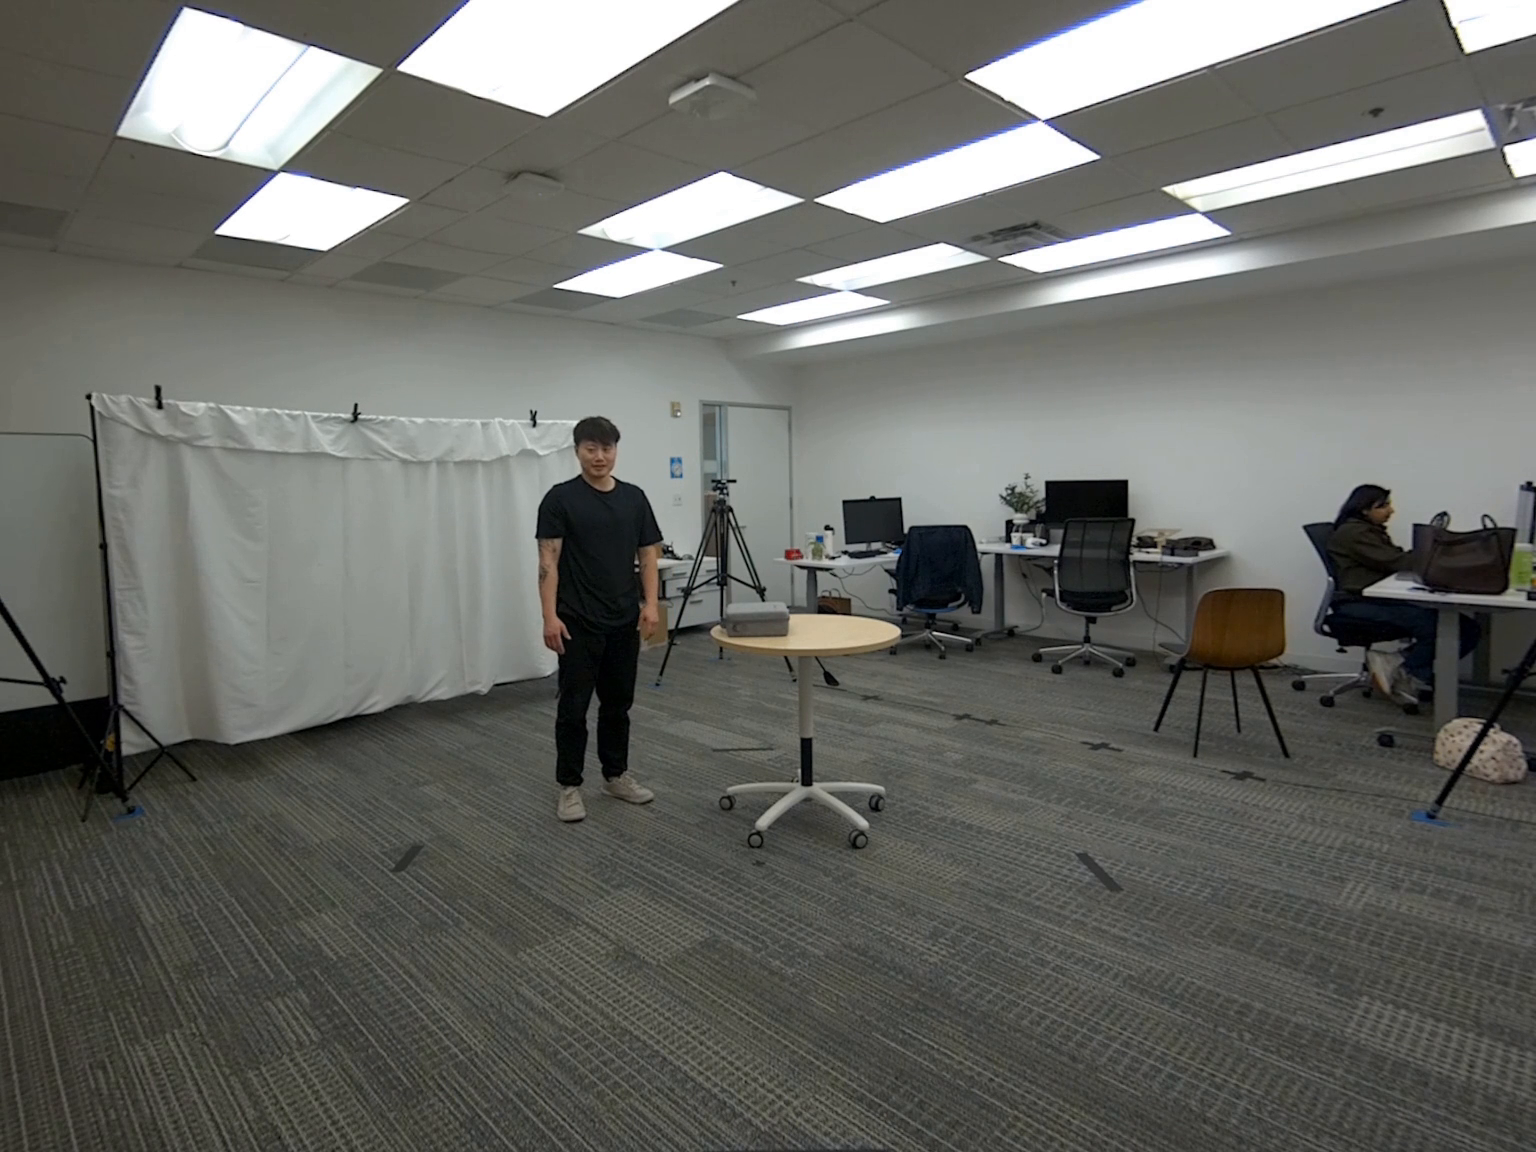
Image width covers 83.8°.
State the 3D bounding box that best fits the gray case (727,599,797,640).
[{"bbox_3d":[-0.031,0.170,3.454,0.261,0.104,0.258,-3,6,0],"label":"gray case"}]
